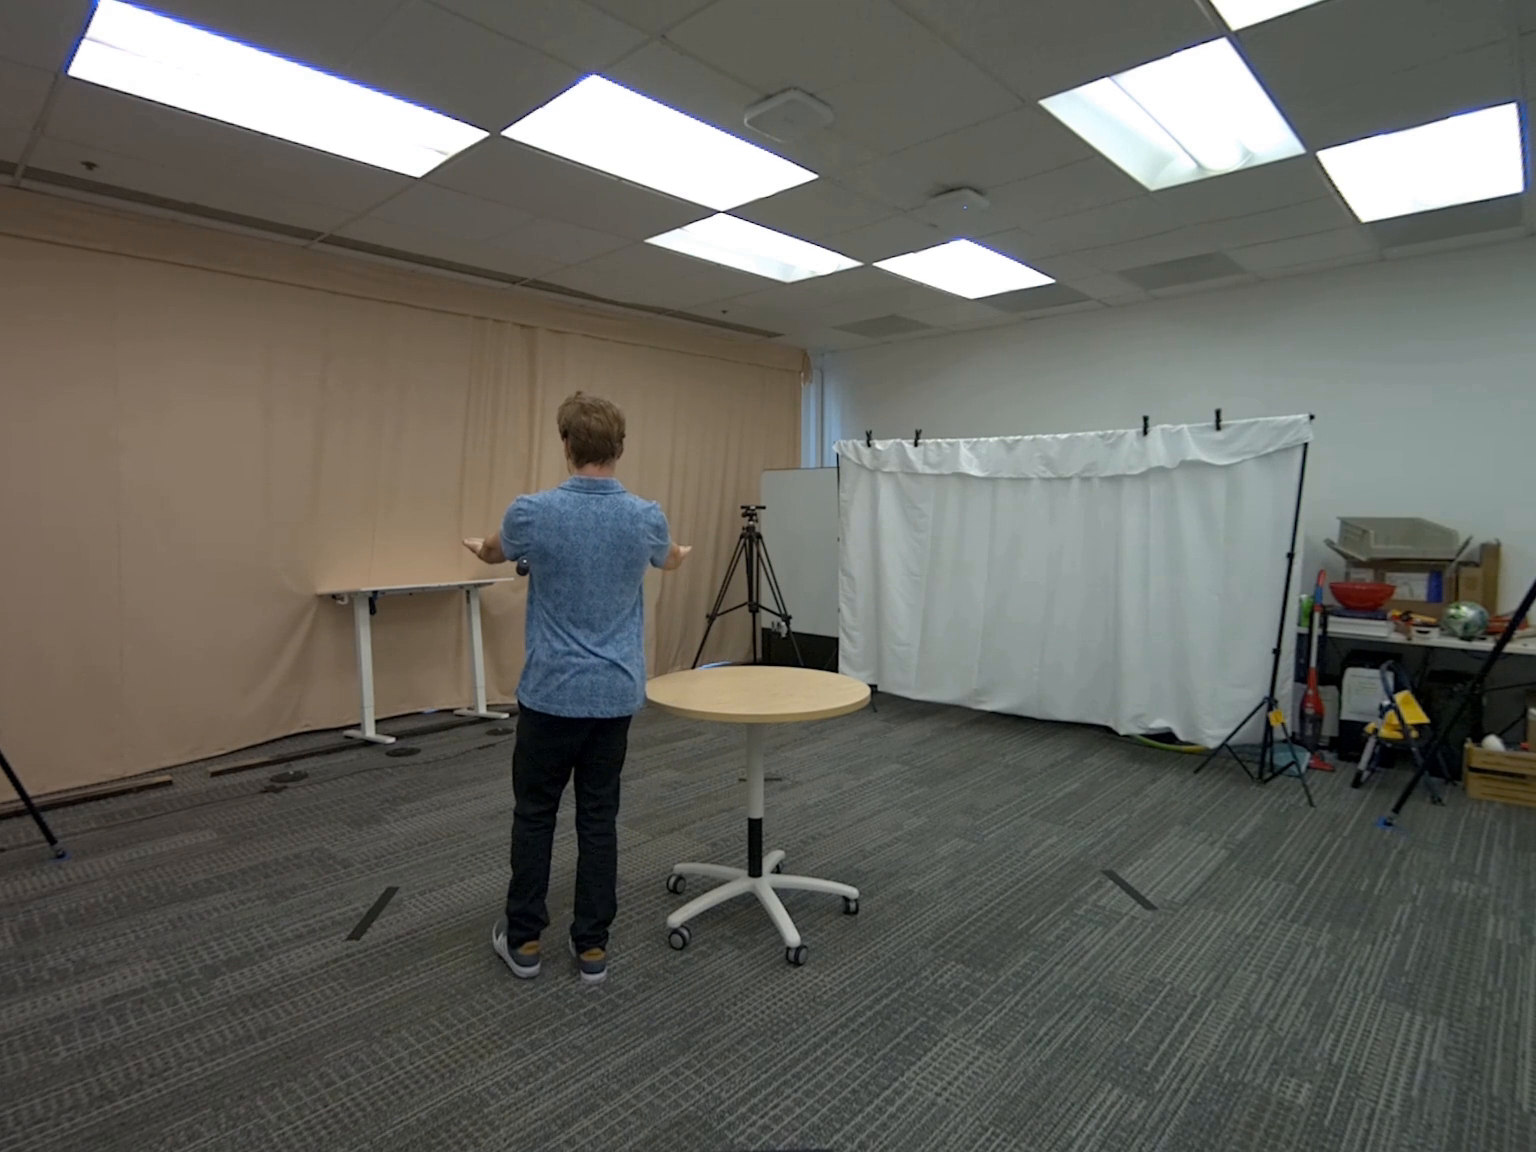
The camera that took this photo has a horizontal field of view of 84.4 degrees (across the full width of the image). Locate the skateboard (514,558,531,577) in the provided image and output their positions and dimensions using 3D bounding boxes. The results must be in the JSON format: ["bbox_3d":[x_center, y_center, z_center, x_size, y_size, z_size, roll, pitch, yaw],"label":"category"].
[{"bbox_3d":[-0.688,-0.056,3.041,0.774,0.111,0.195,2,-9,-14],"label":"skateboard"}]
